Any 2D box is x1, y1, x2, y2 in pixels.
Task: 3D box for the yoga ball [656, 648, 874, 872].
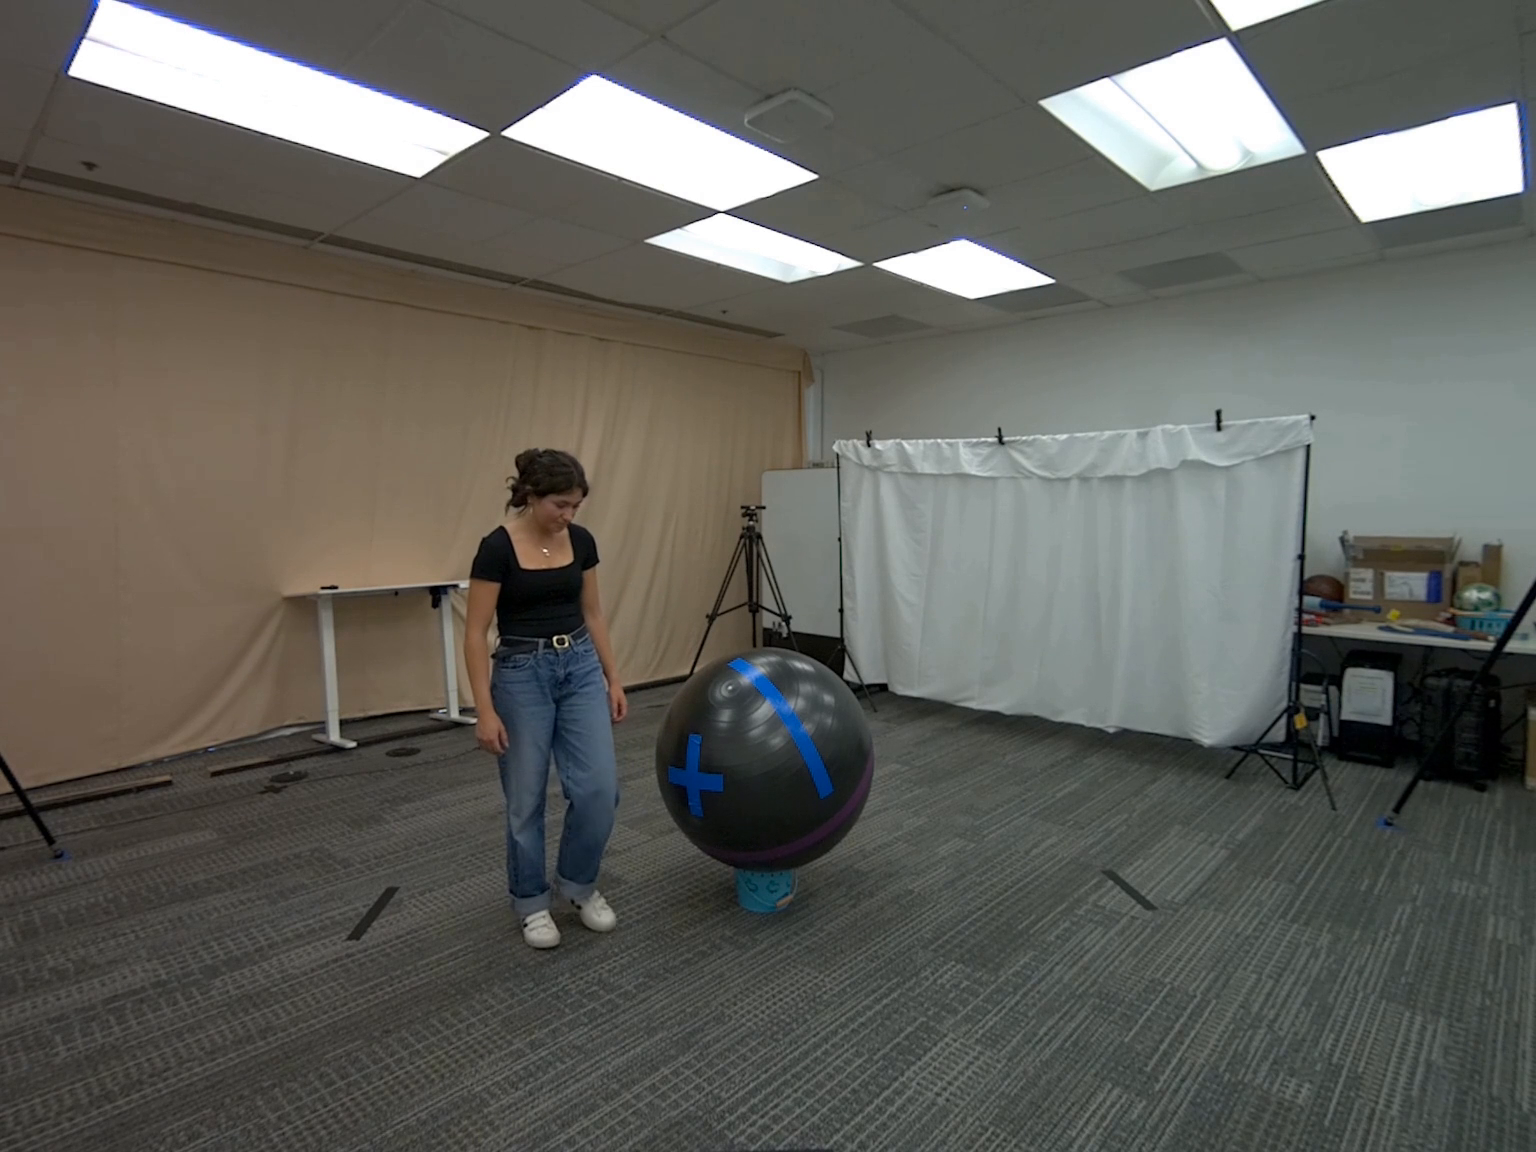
[{"bbox_3d":[-0.010,0.632,2.953,0.757,0.756,0.760,0,4,-2],"label":"yoga ball"}]
